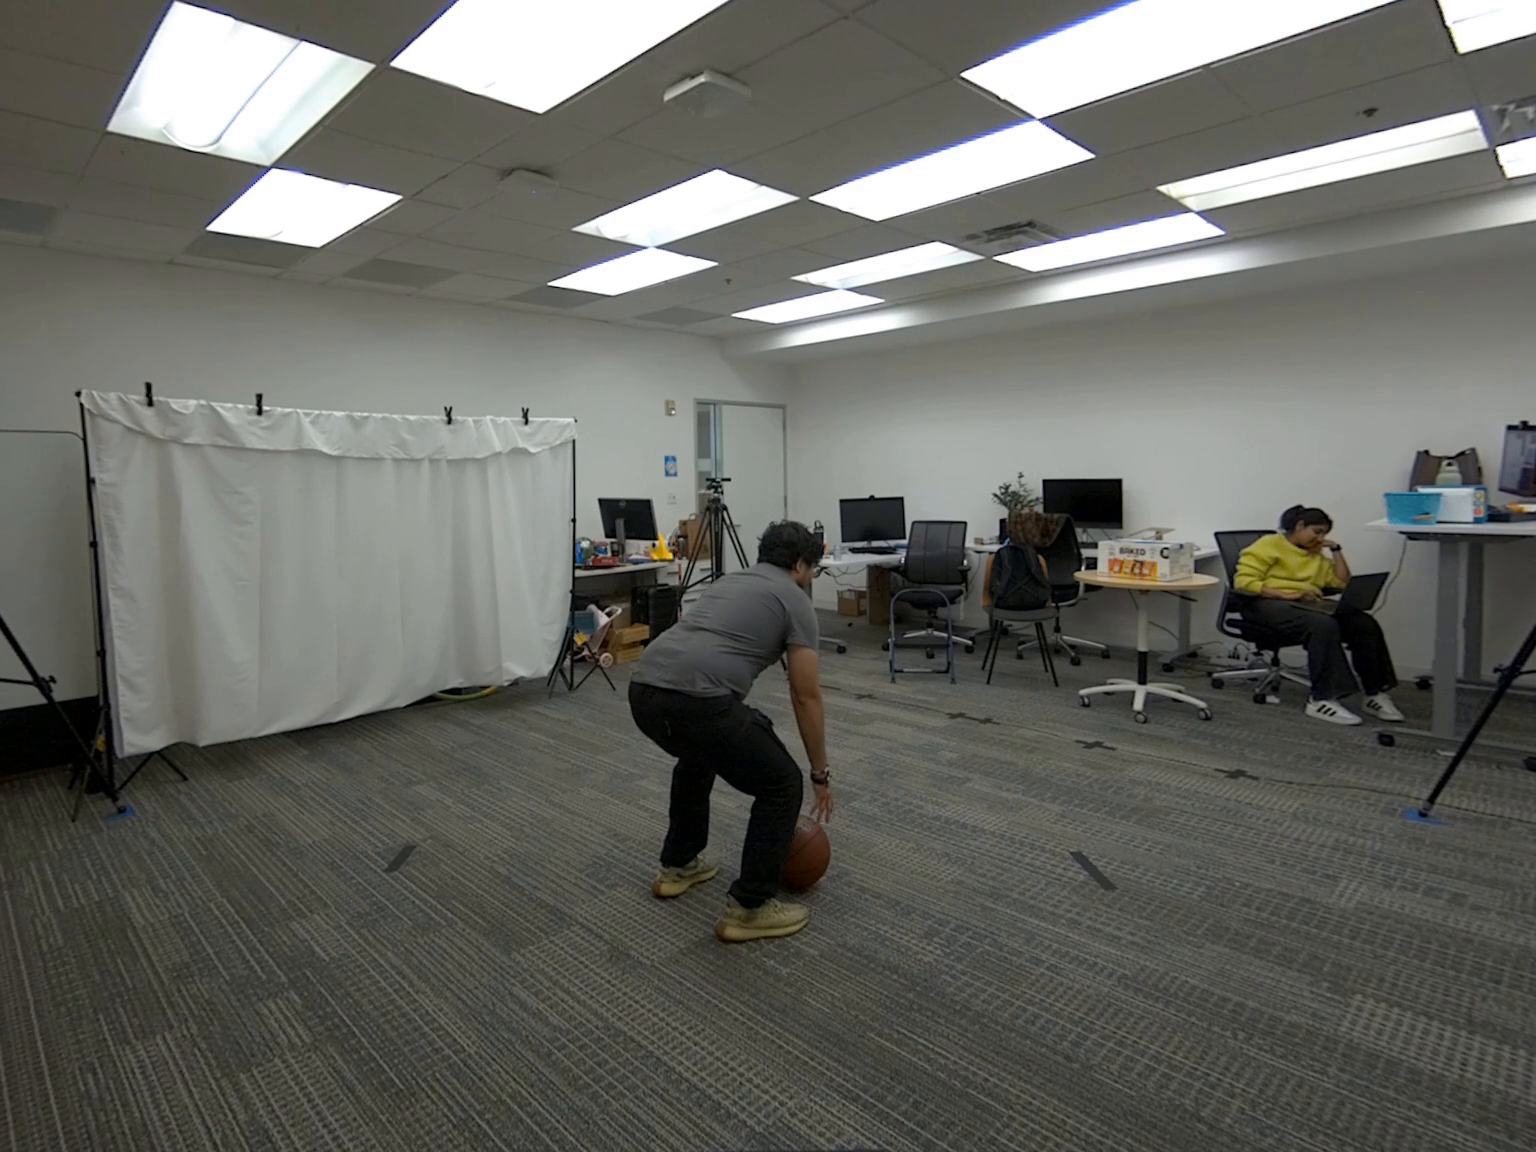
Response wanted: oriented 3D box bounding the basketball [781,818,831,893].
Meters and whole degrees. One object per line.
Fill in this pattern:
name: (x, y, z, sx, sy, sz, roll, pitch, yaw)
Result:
basketball: (0.094, 0.937, 2.929, 0.236, 0.235, 0.237, -1, 5, -2)
